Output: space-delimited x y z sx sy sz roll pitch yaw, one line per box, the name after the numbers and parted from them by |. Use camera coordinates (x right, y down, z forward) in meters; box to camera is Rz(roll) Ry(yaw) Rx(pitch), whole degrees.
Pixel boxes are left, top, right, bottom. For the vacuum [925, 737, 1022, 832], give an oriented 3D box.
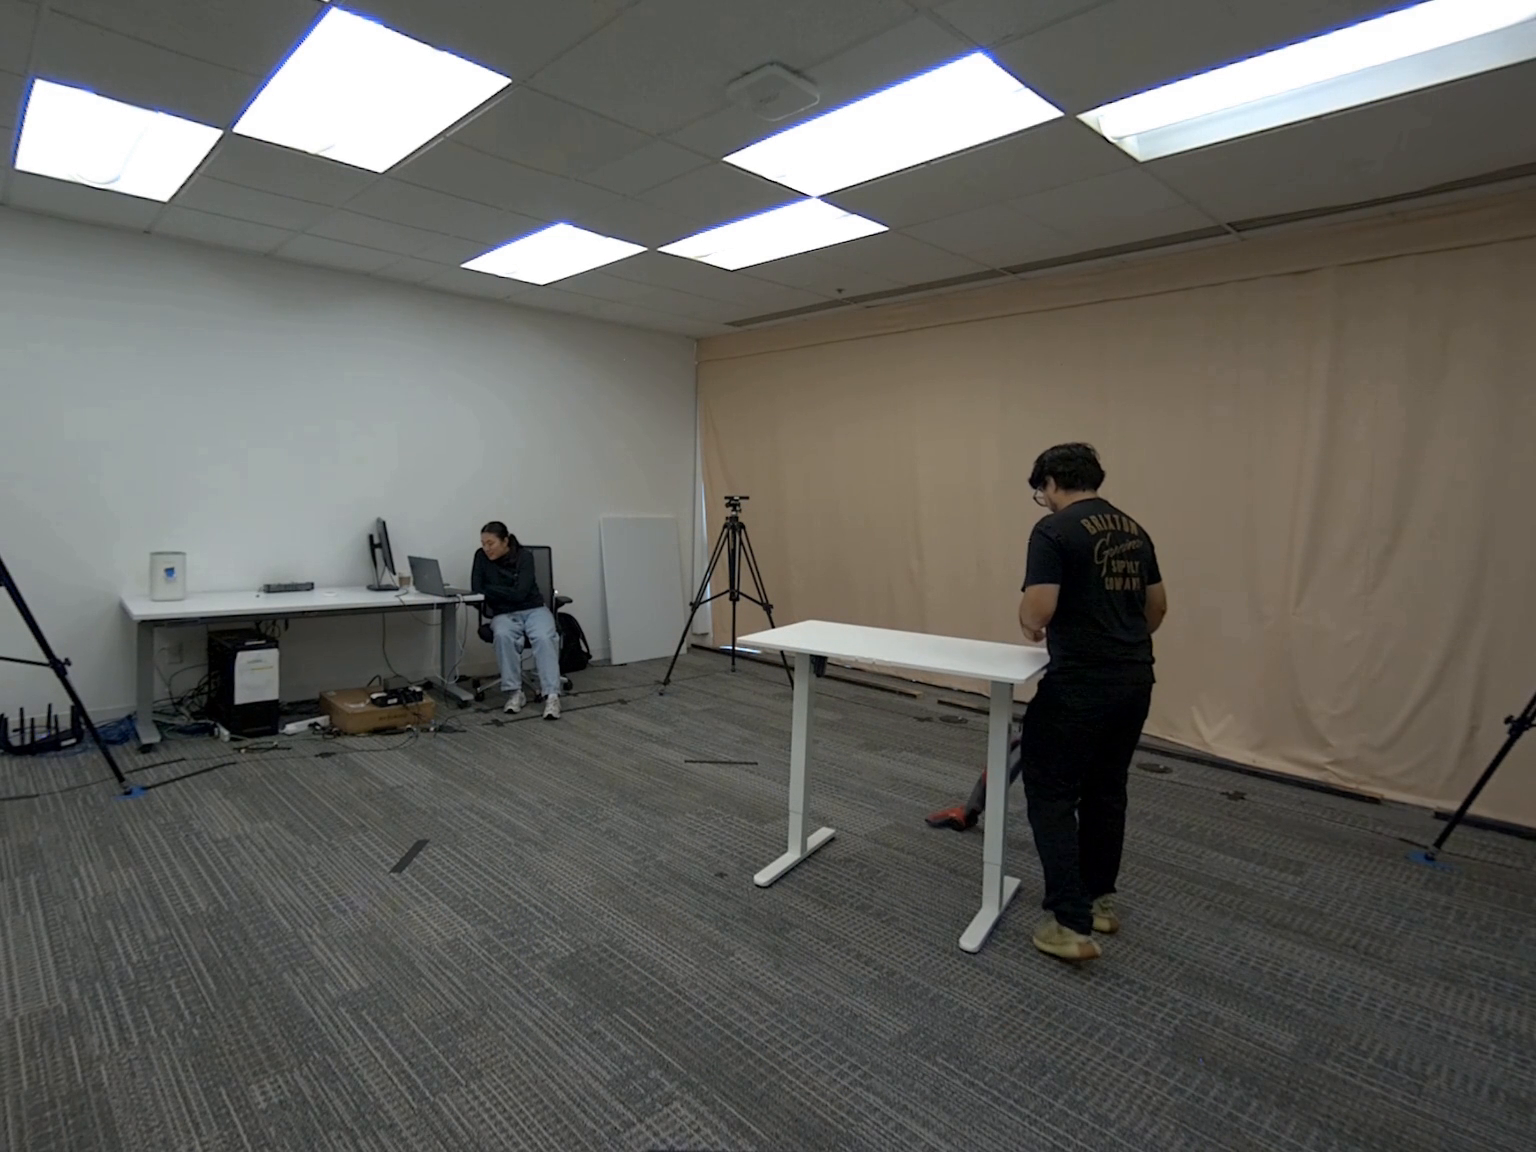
1.022 0.686 3.391 0.247 1.042 0.148 -4 45 -42 | vacuum
